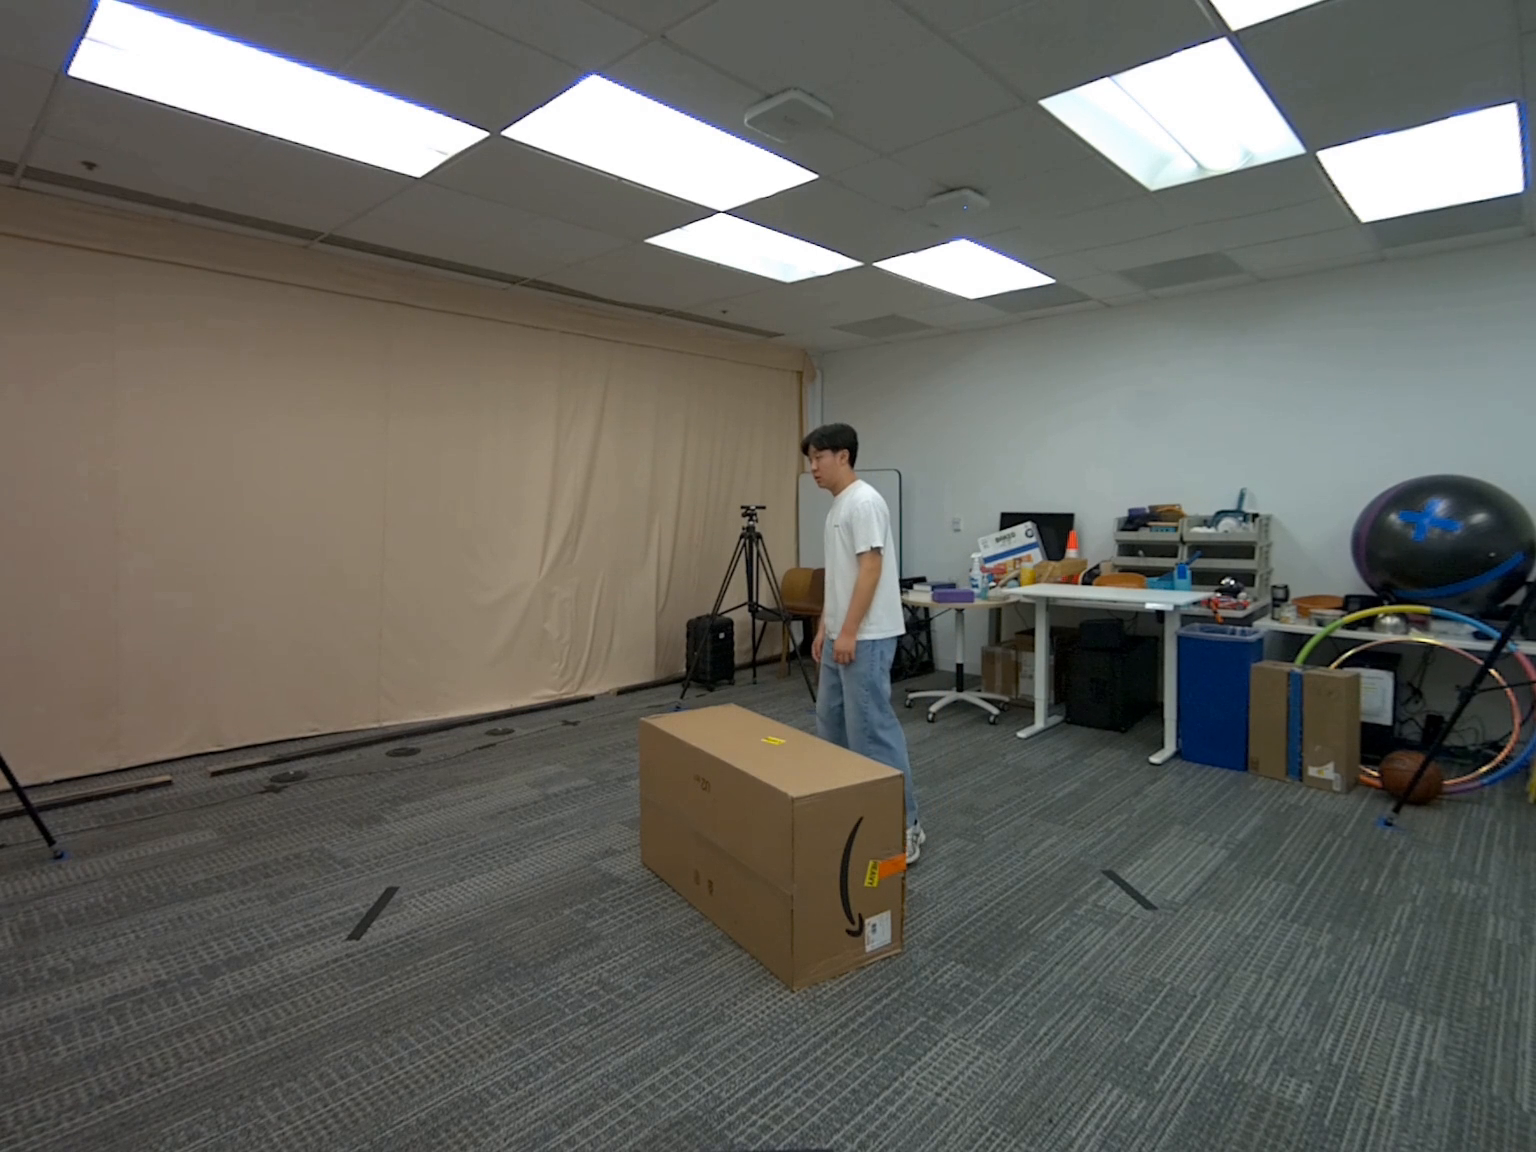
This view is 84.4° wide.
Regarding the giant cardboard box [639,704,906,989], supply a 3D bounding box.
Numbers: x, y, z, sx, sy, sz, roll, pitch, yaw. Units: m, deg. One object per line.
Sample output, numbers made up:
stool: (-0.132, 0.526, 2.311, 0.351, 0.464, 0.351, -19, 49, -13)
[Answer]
giant cardboard box: (-0.035, 0.860, 2.936, 0.414, 0.576, 1.057, -2, 5, -32)
